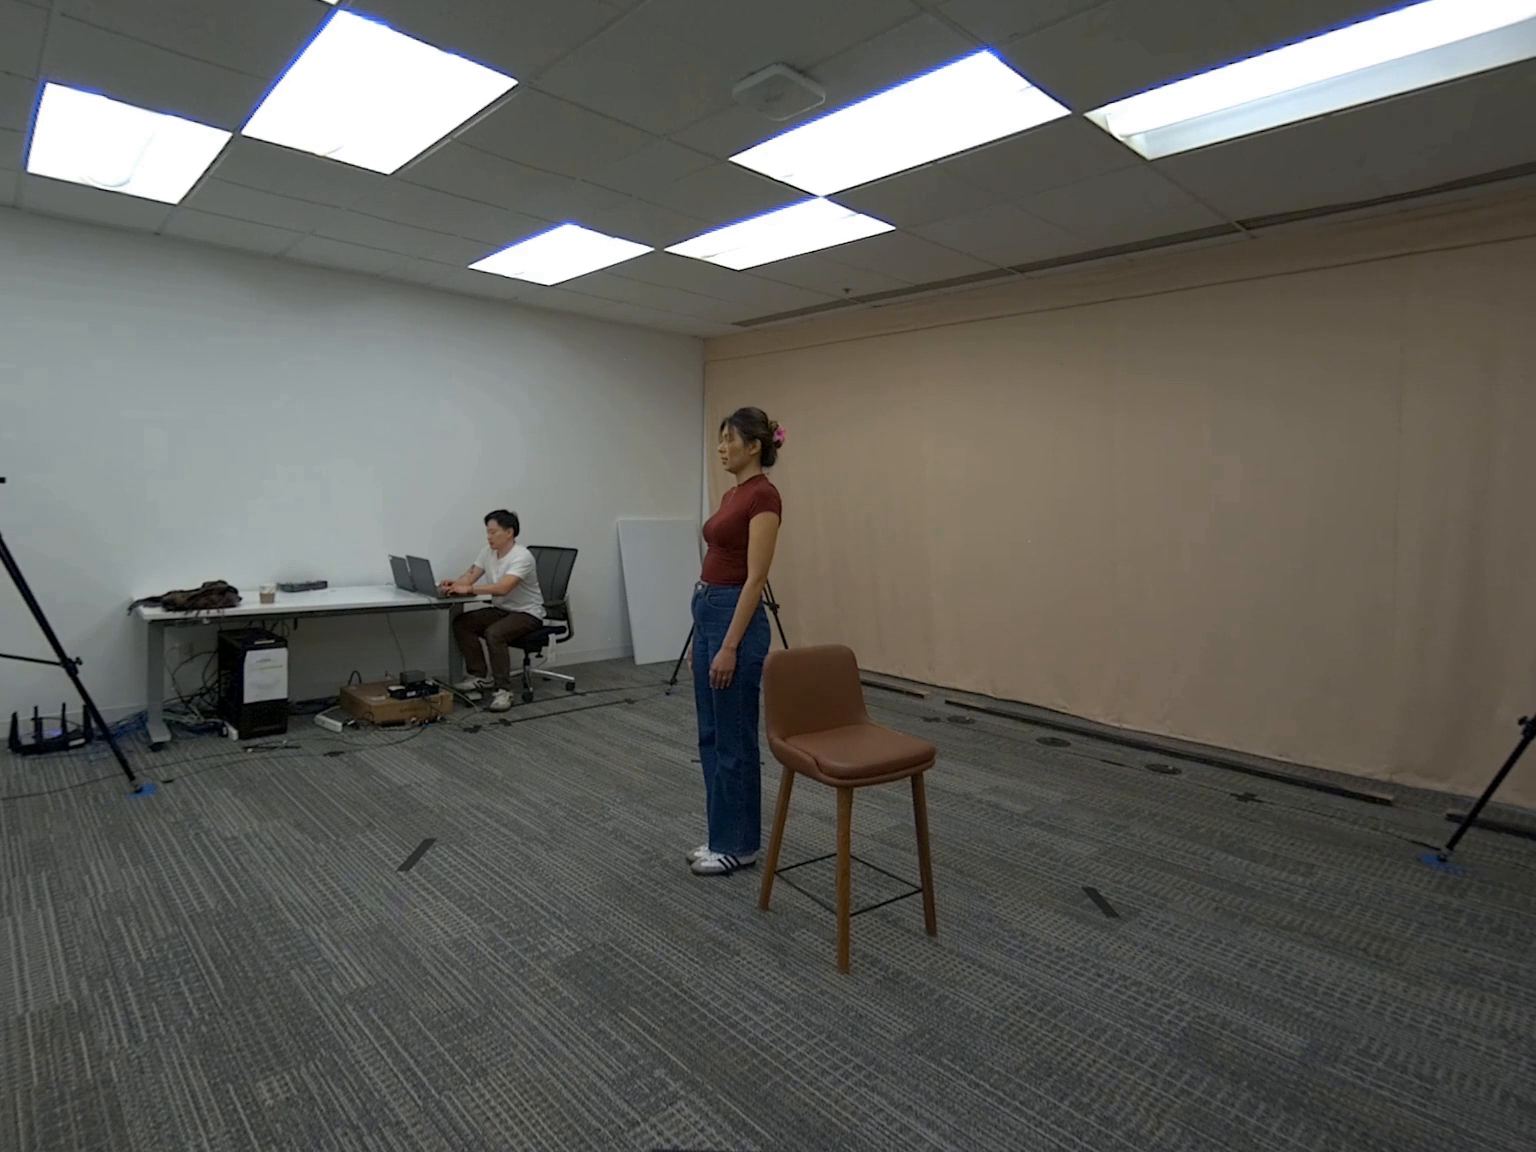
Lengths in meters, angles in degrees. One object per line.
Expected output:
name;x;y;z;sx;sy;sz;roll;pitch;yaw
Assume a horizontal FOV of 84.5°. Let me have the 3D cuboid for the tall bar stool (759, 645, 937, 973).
tall bar stool;0.250;0.708;2.747;0.446;0.888;0.478;-1;2;-35
